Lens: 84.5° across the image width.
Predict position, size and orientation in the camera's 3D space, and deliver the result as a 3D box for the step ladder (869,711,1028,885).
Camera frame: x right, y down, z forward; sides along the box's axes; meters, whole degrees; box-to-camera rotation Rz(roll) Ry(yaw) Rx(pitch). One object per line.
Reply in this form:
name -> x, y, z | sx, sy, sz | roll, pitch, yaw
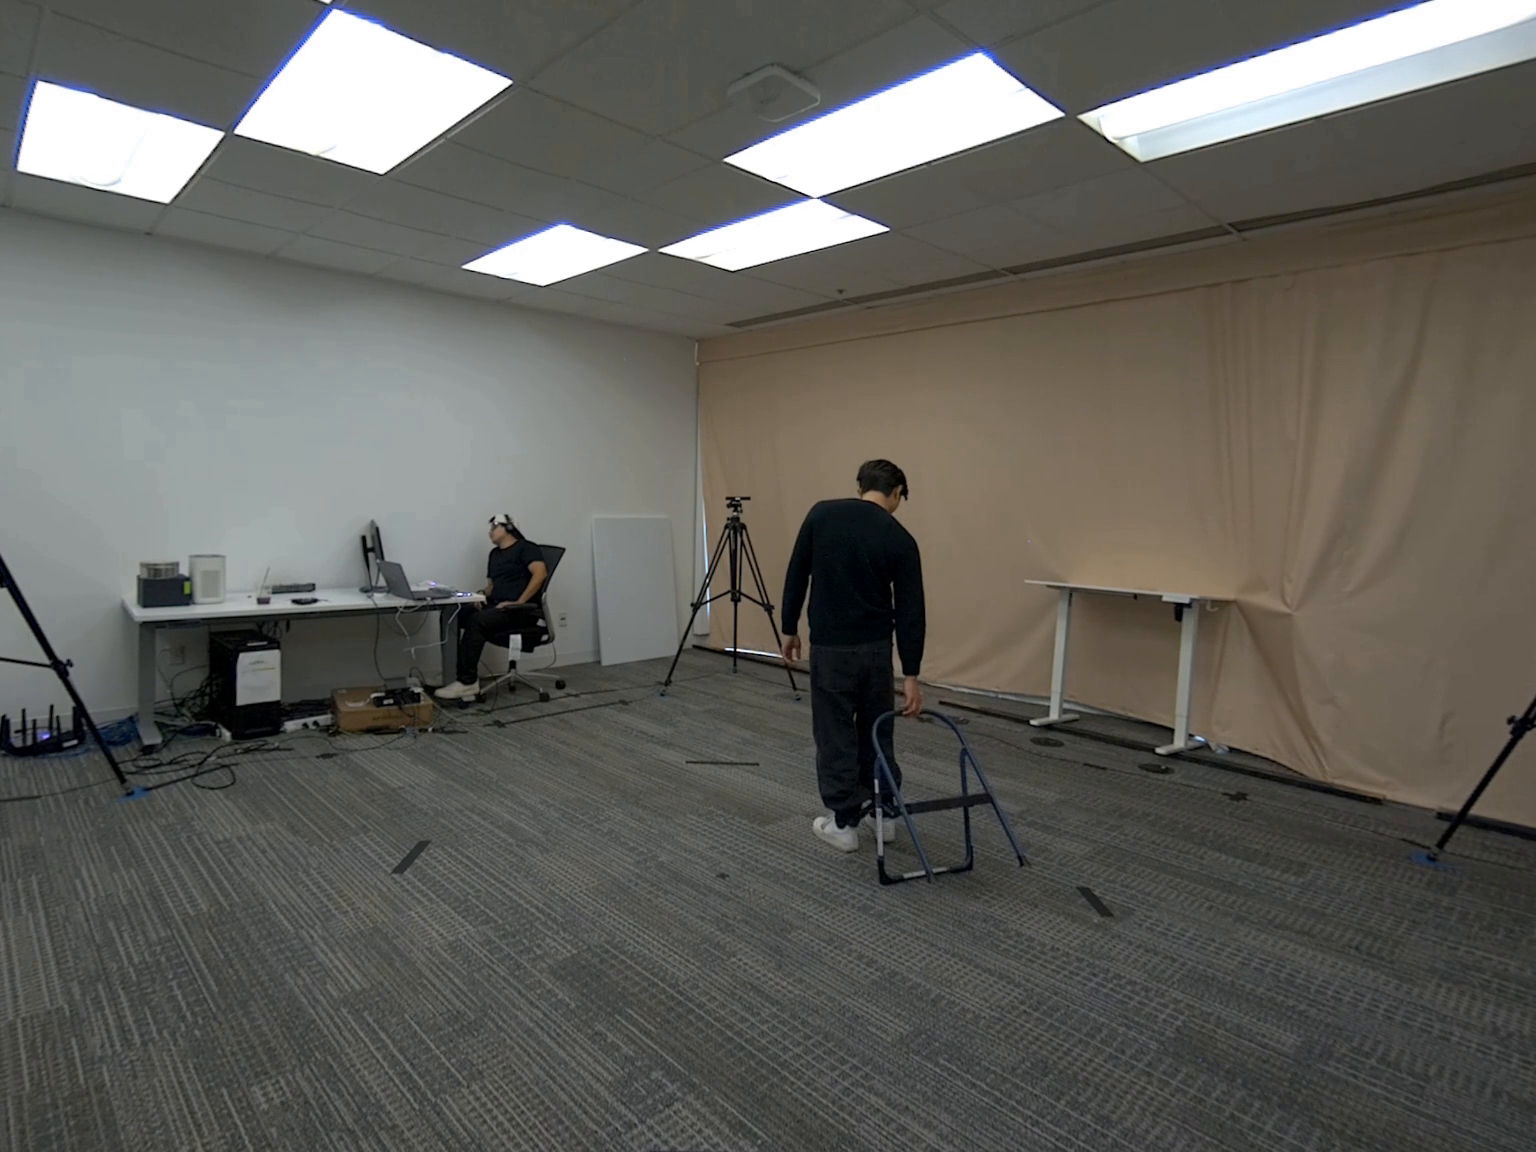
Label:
step ladder -> 0.611, 0.787, 3.101 | 0.423, 0.616, 0.350 | 1, -22, -24
